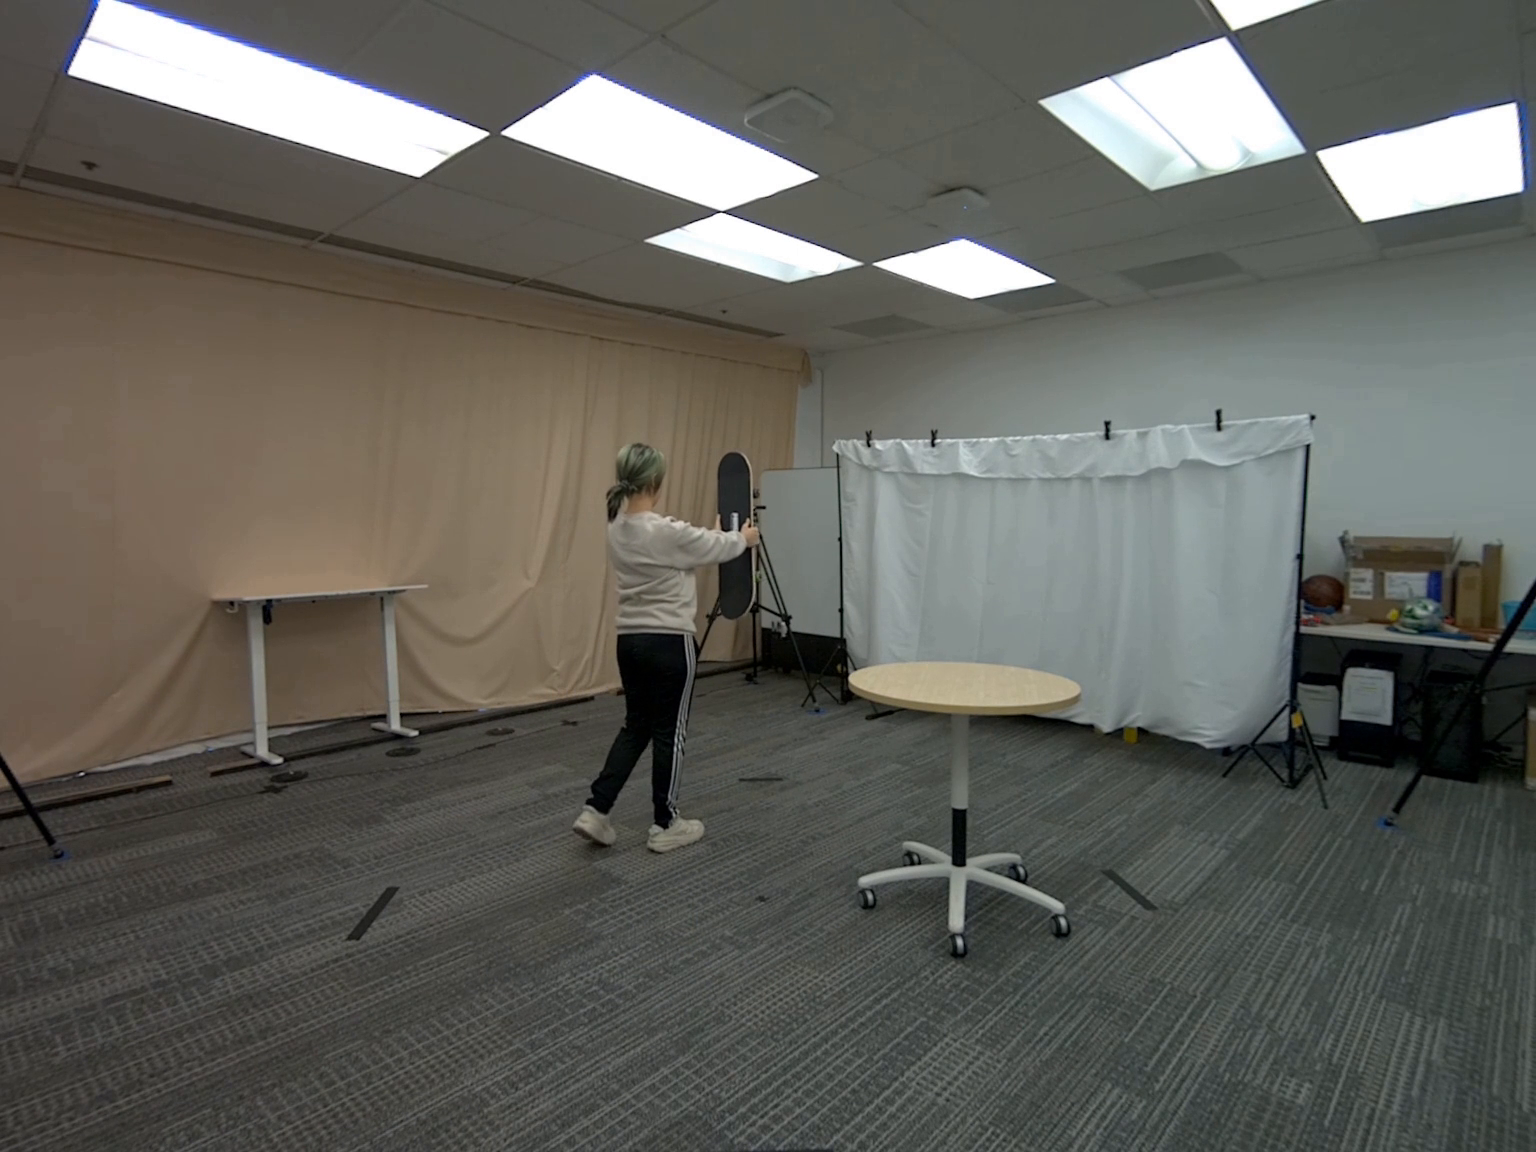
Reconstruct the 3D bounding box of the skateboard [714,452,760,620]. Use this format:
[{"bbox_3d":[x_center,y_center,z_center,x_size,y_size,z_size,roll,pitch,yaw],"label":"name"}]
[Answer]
[{"bbox_3d":[-0.132,-0.178,3.832,0.198,0.793,0.106,-13,-19,34],"label":"skateboard"}]
